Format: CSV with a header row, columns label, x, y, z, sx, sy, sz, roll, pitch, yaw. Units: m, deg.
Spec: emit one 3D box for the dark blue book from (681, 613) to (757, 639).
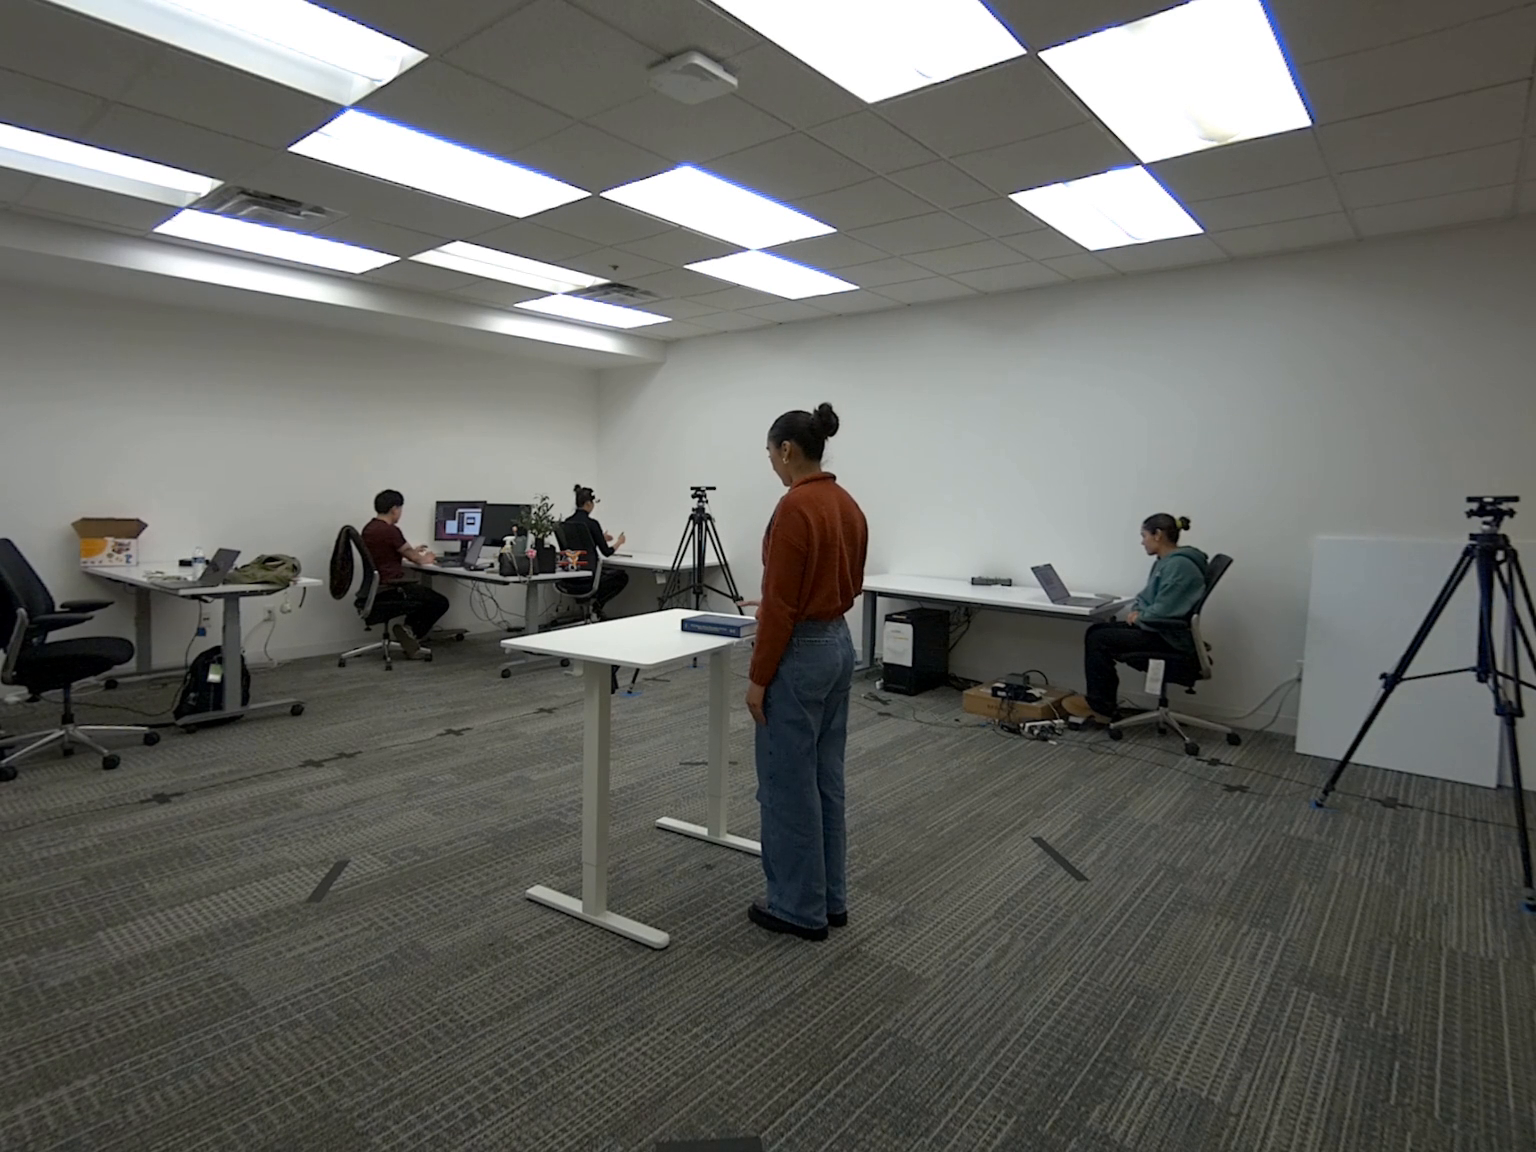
label,x,y,z,sx,sy,sz,roll,pitch,yaw
dark blue book,-0.174,0.174,3.008,0.252,0.045,0.159,4,7,28
